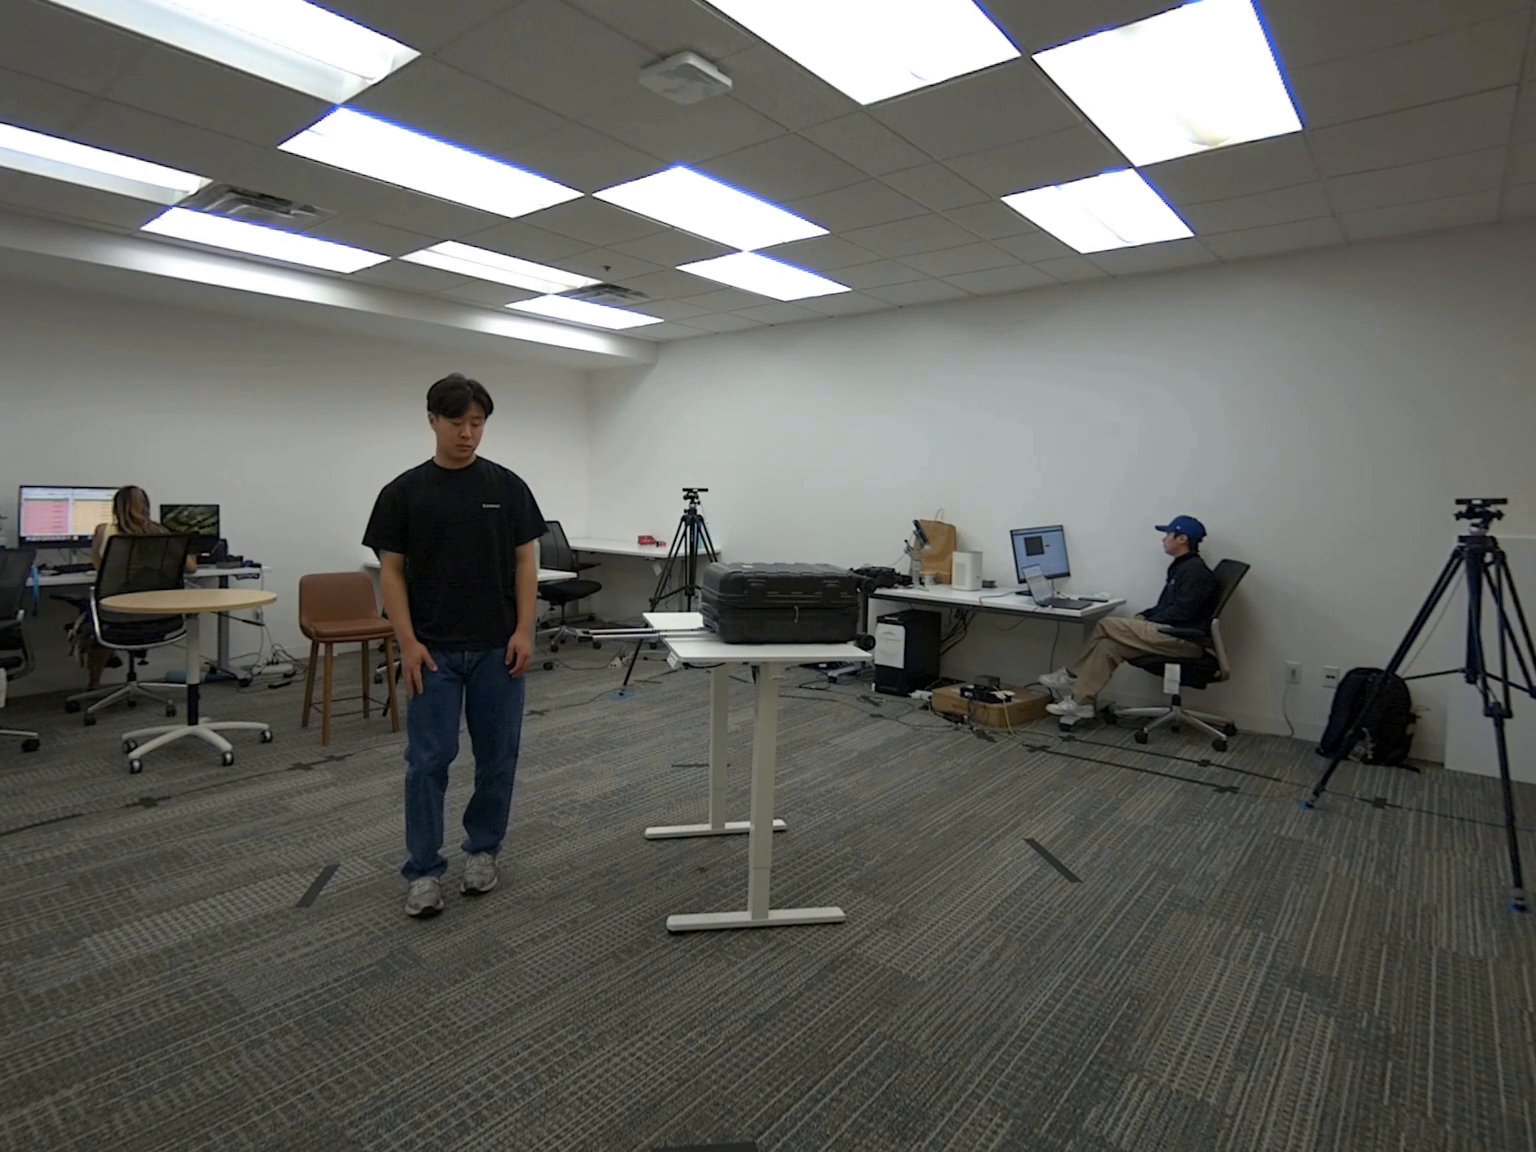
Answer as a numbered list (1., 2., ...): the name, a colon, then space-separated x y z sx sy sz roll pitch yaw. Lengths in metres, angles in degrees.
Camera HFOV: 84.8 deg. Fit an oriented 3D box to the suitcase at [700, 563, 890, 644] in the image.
1. suitcase: -0.153 0.086 2.883 0.963 0.256 0.391 2 4 -15
